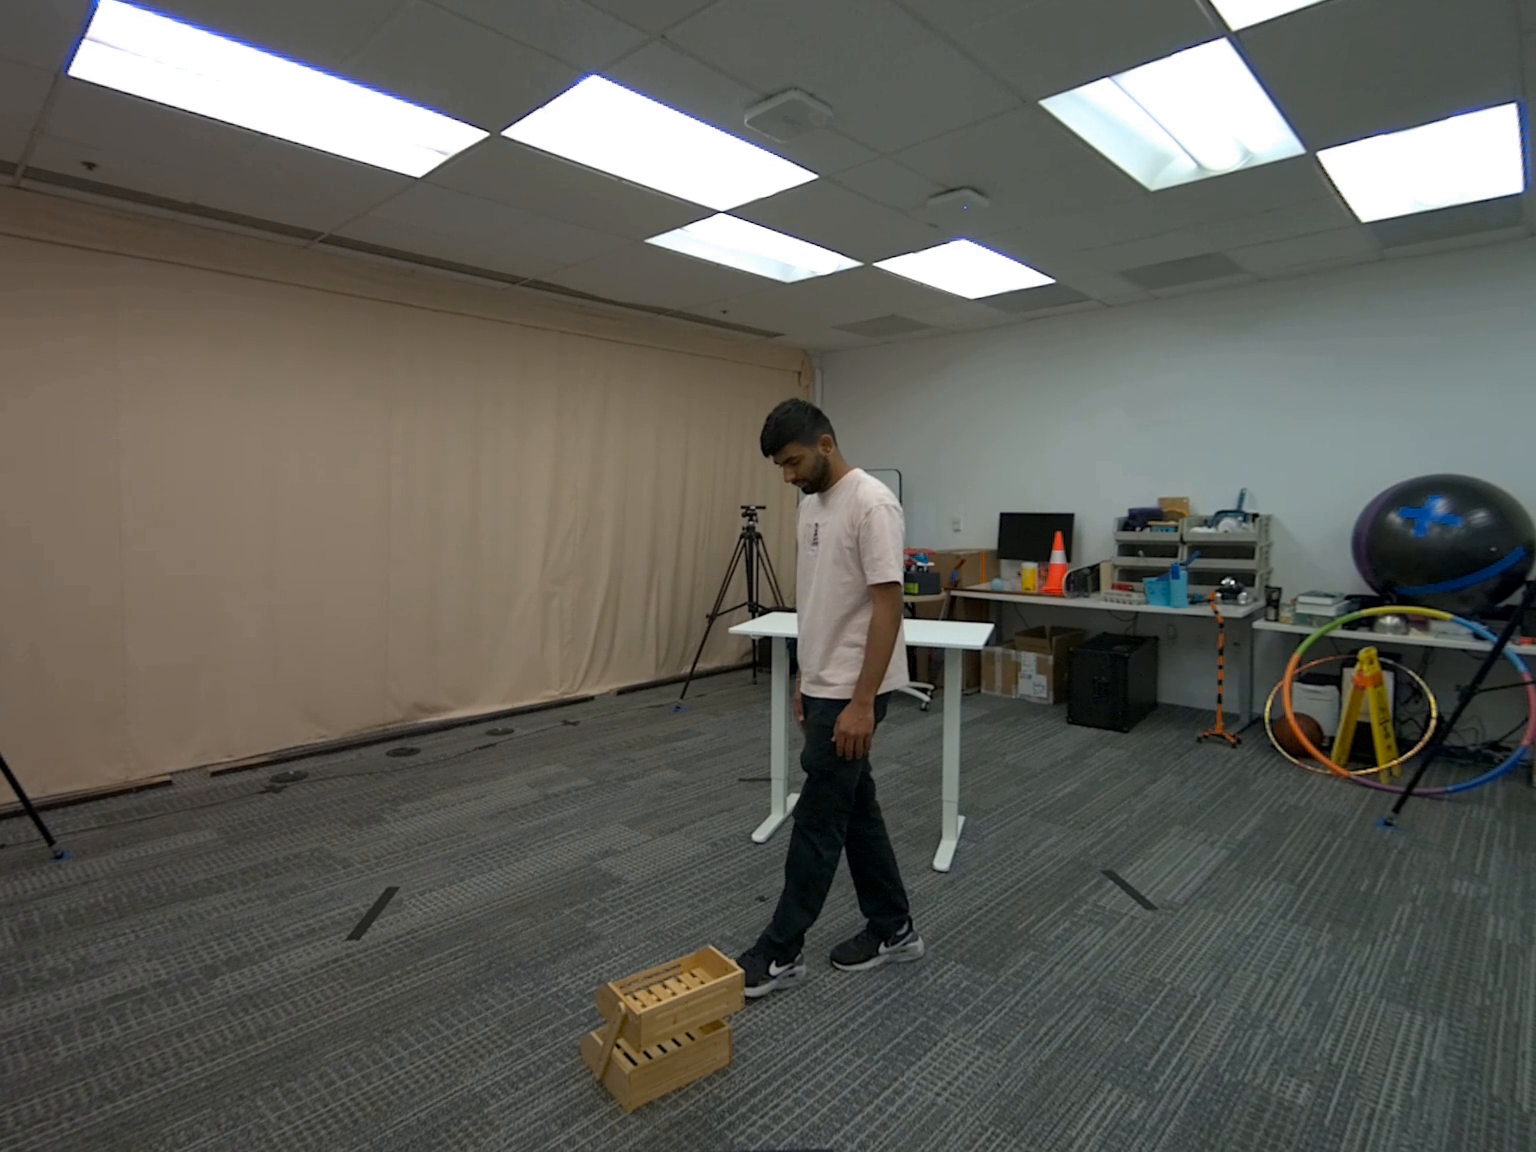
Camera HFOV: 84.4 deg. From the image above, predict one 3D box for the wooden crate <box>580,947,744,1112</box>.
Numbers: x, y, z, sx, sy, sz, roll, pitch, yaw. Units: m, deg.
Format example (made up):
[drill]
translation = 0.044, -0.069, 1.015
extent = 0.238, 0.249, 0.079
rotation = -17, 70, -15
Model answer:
[wooden crate]
translation = -0.267, 1.087, 2.086
extent = 0.315, 0.273, 0.312
rotation = -2, 5, -38
